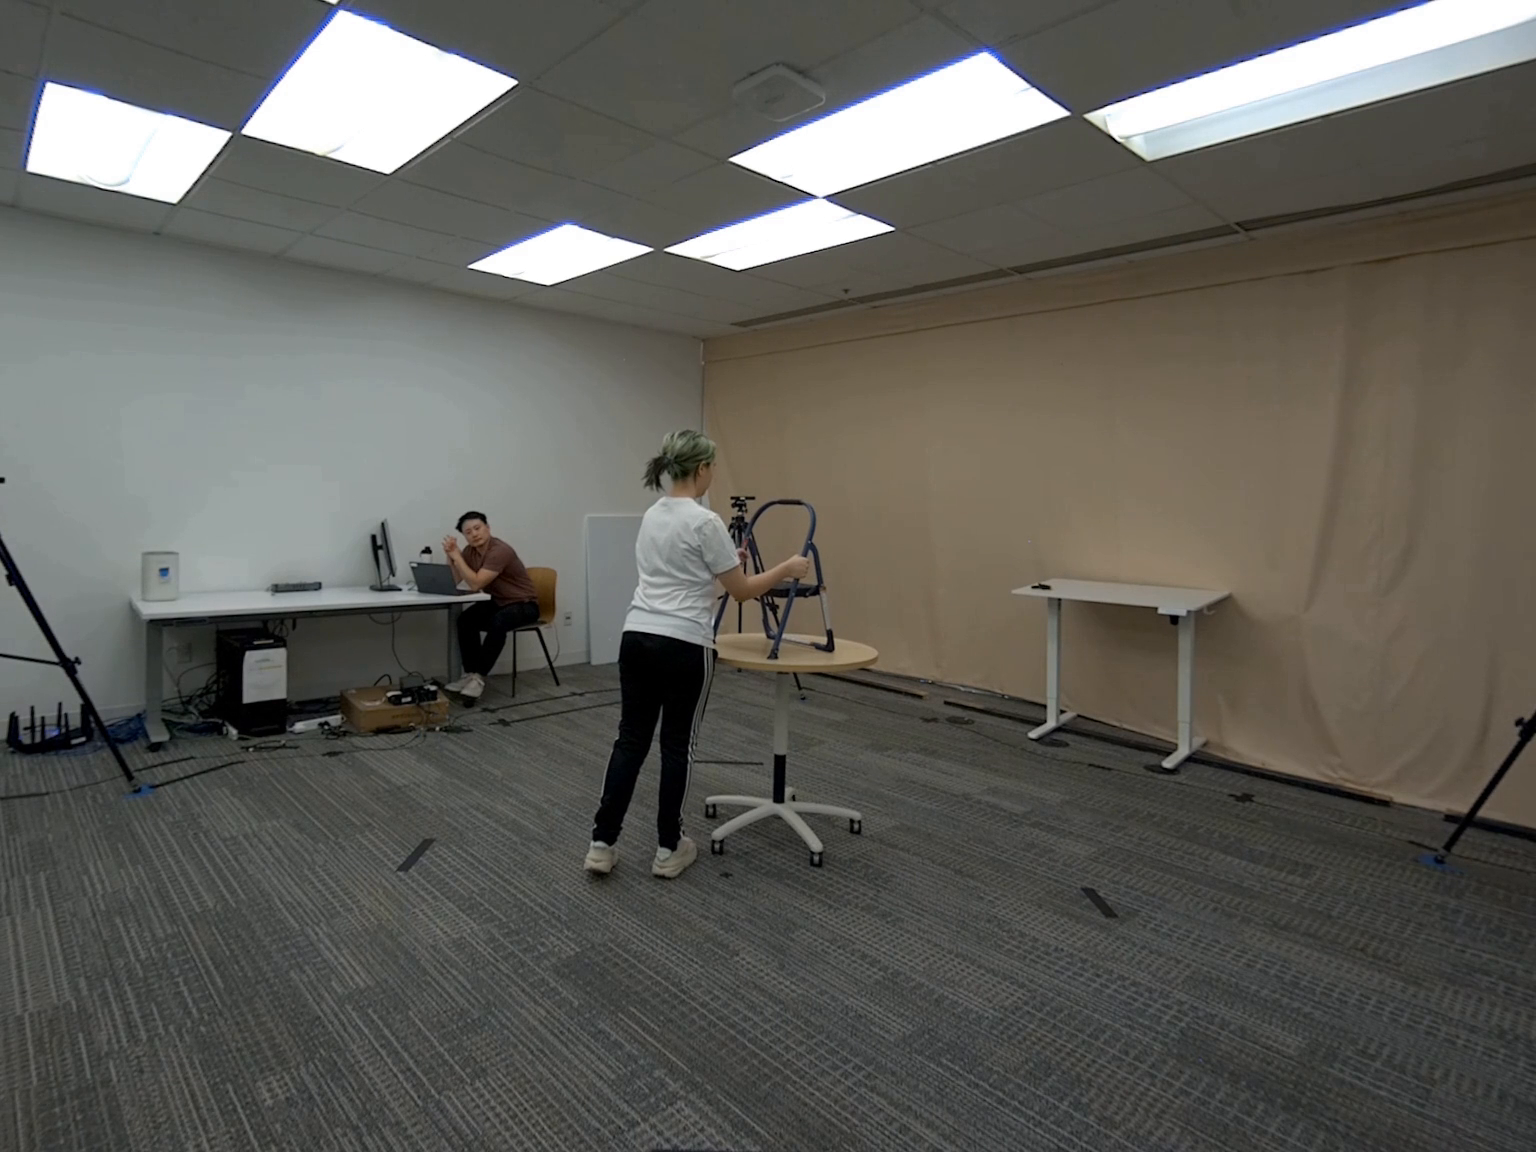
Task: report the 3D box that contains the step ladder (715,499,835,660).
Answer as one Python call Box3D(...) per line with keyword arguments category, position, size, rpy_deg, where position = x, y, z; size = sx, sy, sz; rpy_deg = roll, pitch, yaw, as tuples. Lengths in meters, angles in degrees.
Box3D(category="step ladder", position=(0.017, -0.007, 3.424), size=(0.341, 0.604, 0.441), rpy_deg=(-1, 5, -39))
